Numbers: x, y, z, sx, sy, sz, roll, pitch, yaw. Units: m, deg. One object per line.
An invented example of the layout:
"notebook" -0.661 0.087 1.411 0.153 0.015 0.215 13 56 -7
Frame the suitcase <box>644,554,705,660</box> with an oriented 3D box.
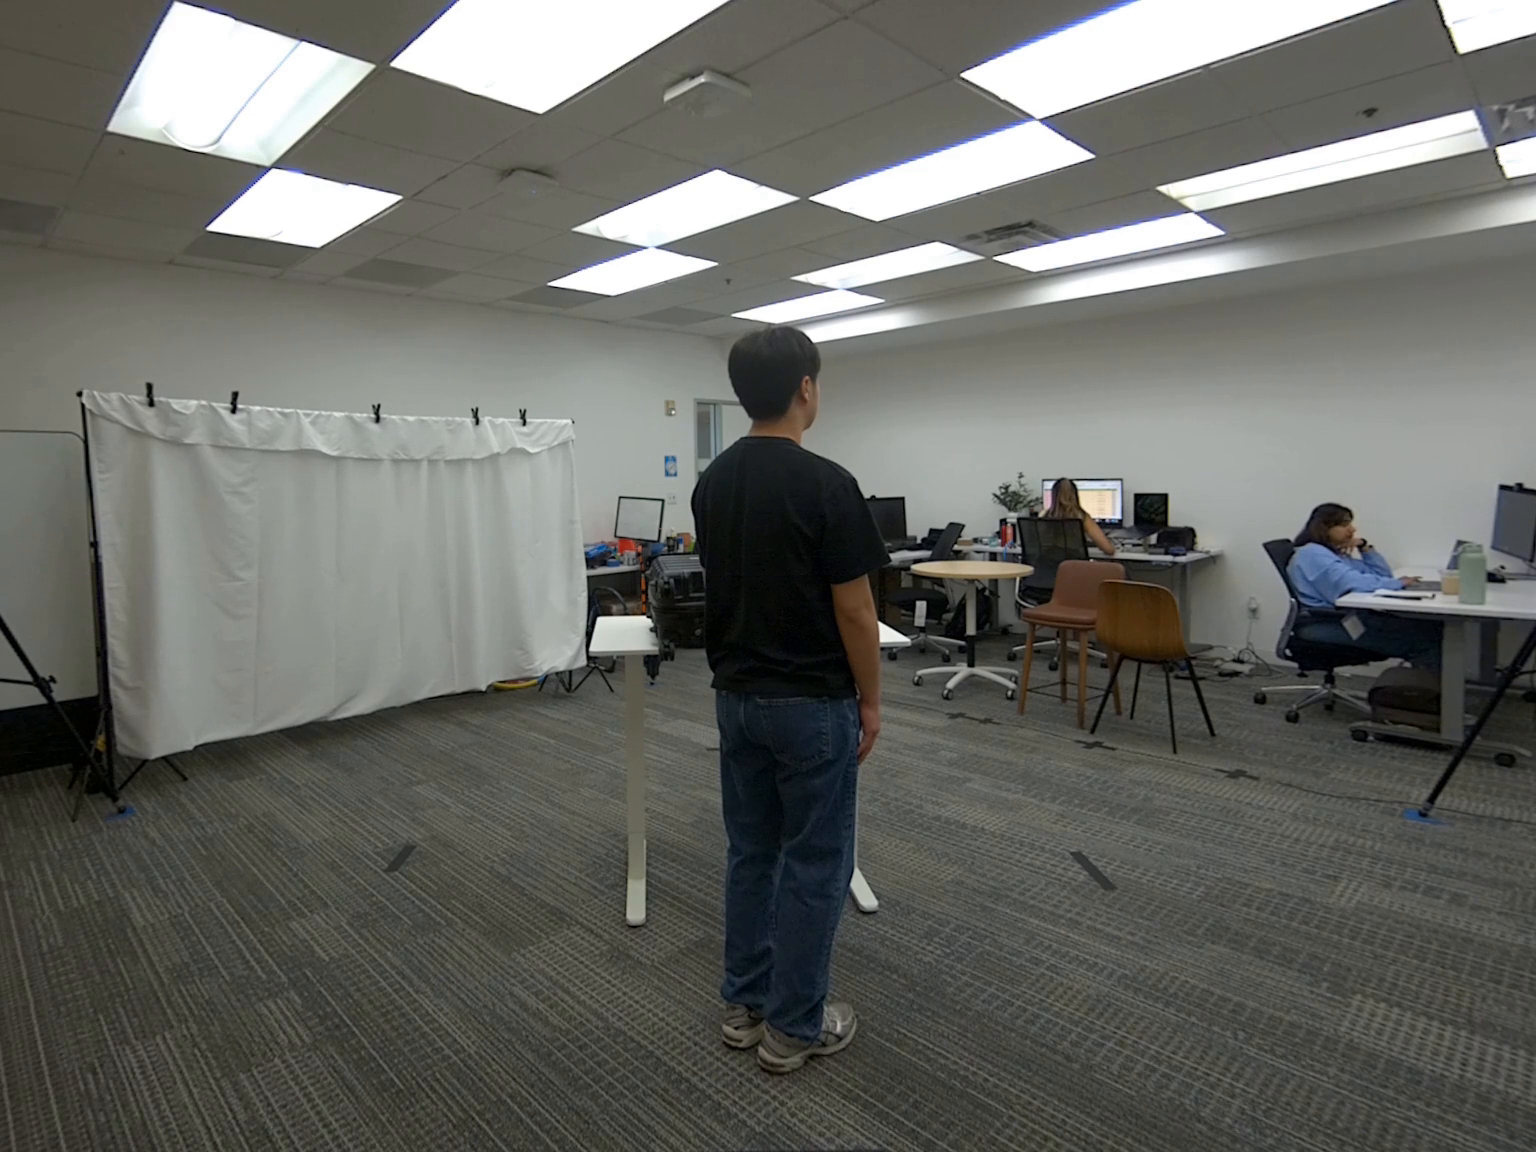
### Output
"suitcase" -0.240 0.048 2.994 0.381 0.255 0.994 -4 9 -10
